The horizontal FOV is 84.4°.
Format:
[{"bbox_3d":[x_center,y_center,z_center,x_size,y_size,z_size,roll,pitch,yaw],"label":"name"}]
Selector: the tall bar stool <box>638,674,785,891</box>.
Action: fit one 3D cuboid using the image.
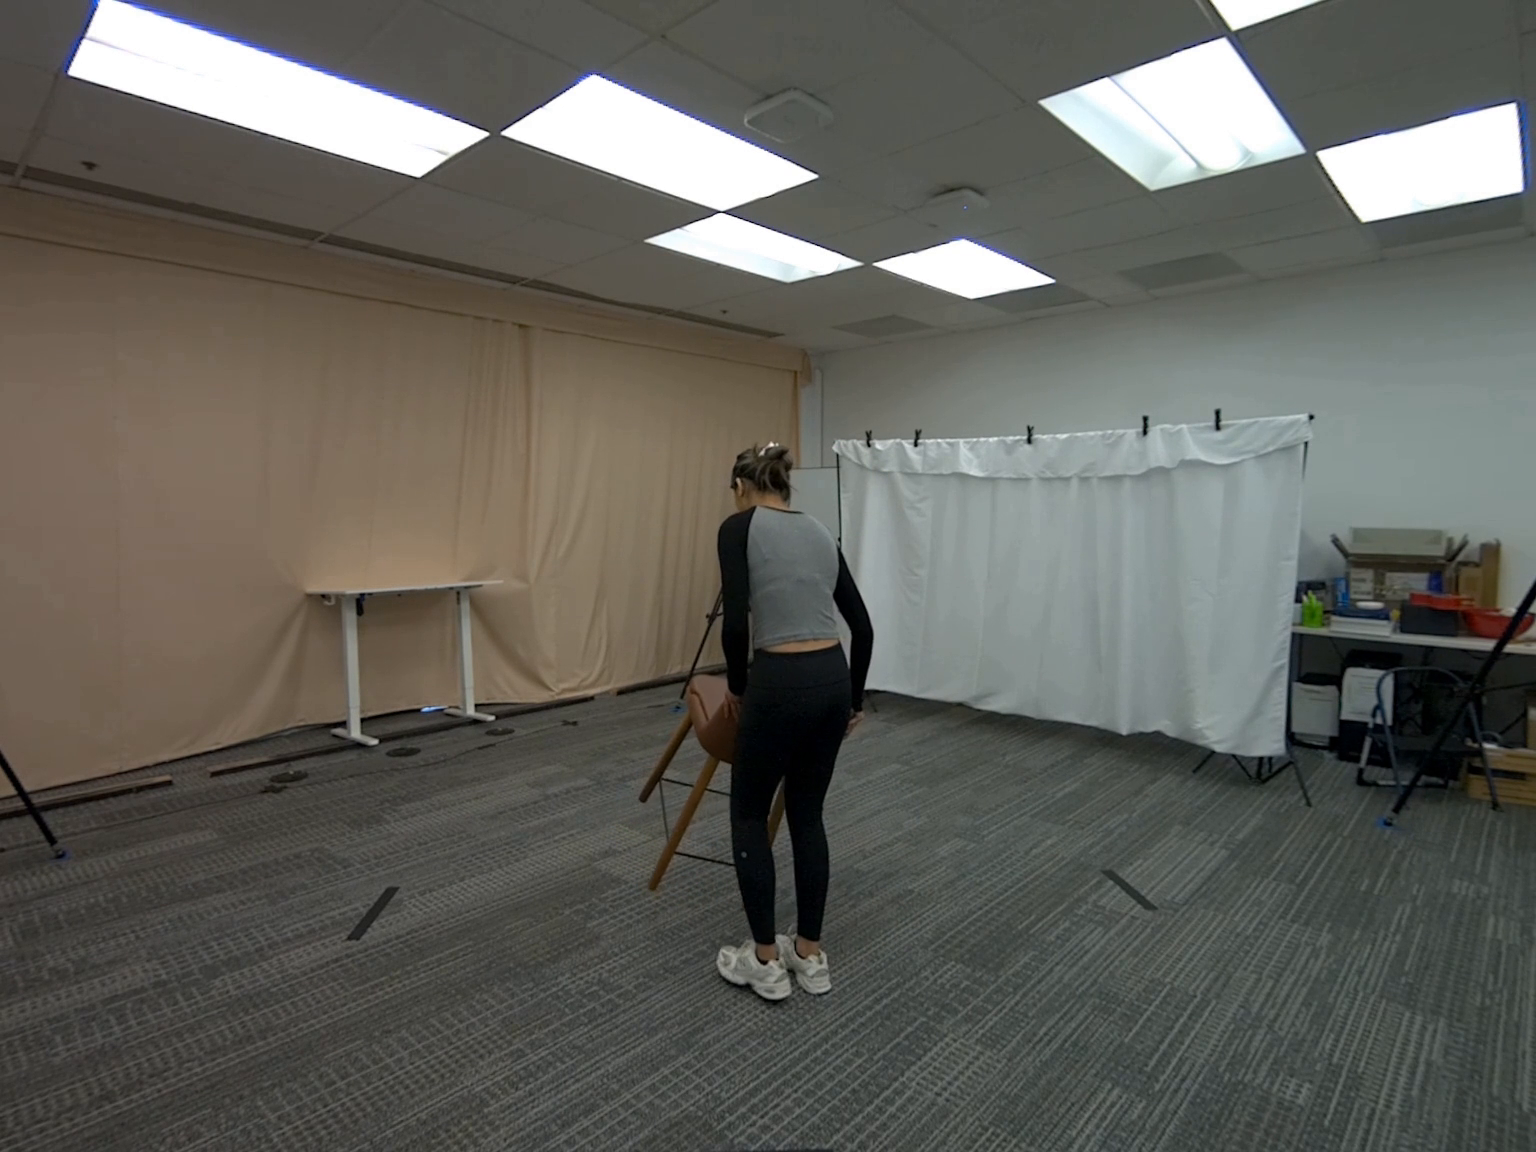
[{"bbox_3d":[-0.100,0.639,2.896,0.448,0.887,0.478,18,24,-17],"label":"tall bar stool"}]
